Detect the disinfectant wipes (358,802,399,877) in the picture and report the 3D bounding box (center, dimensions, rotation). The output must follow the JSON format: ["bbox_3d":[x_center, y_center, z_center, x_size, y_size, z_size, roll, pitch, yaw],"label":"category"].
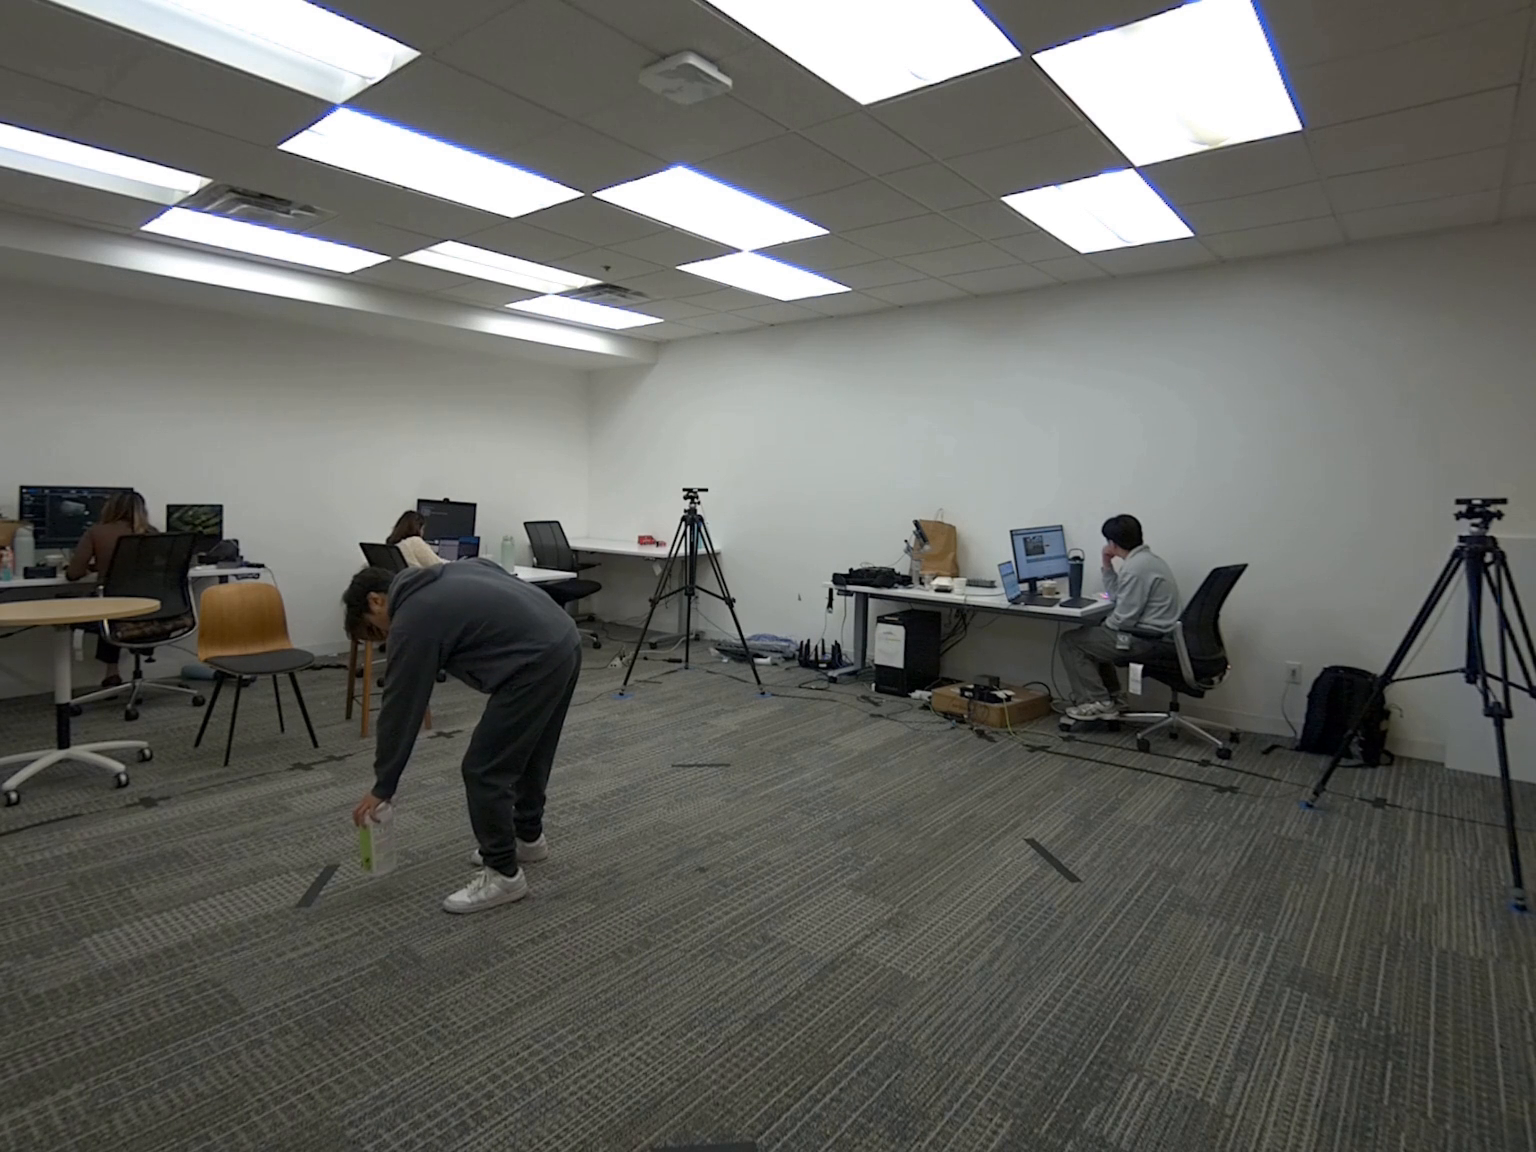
[{"bbox_3d":[-1.325,0.886,2.860,0.118,0.216,0.118,-1,5,-2],"label":"disinfectant wipes"}]
